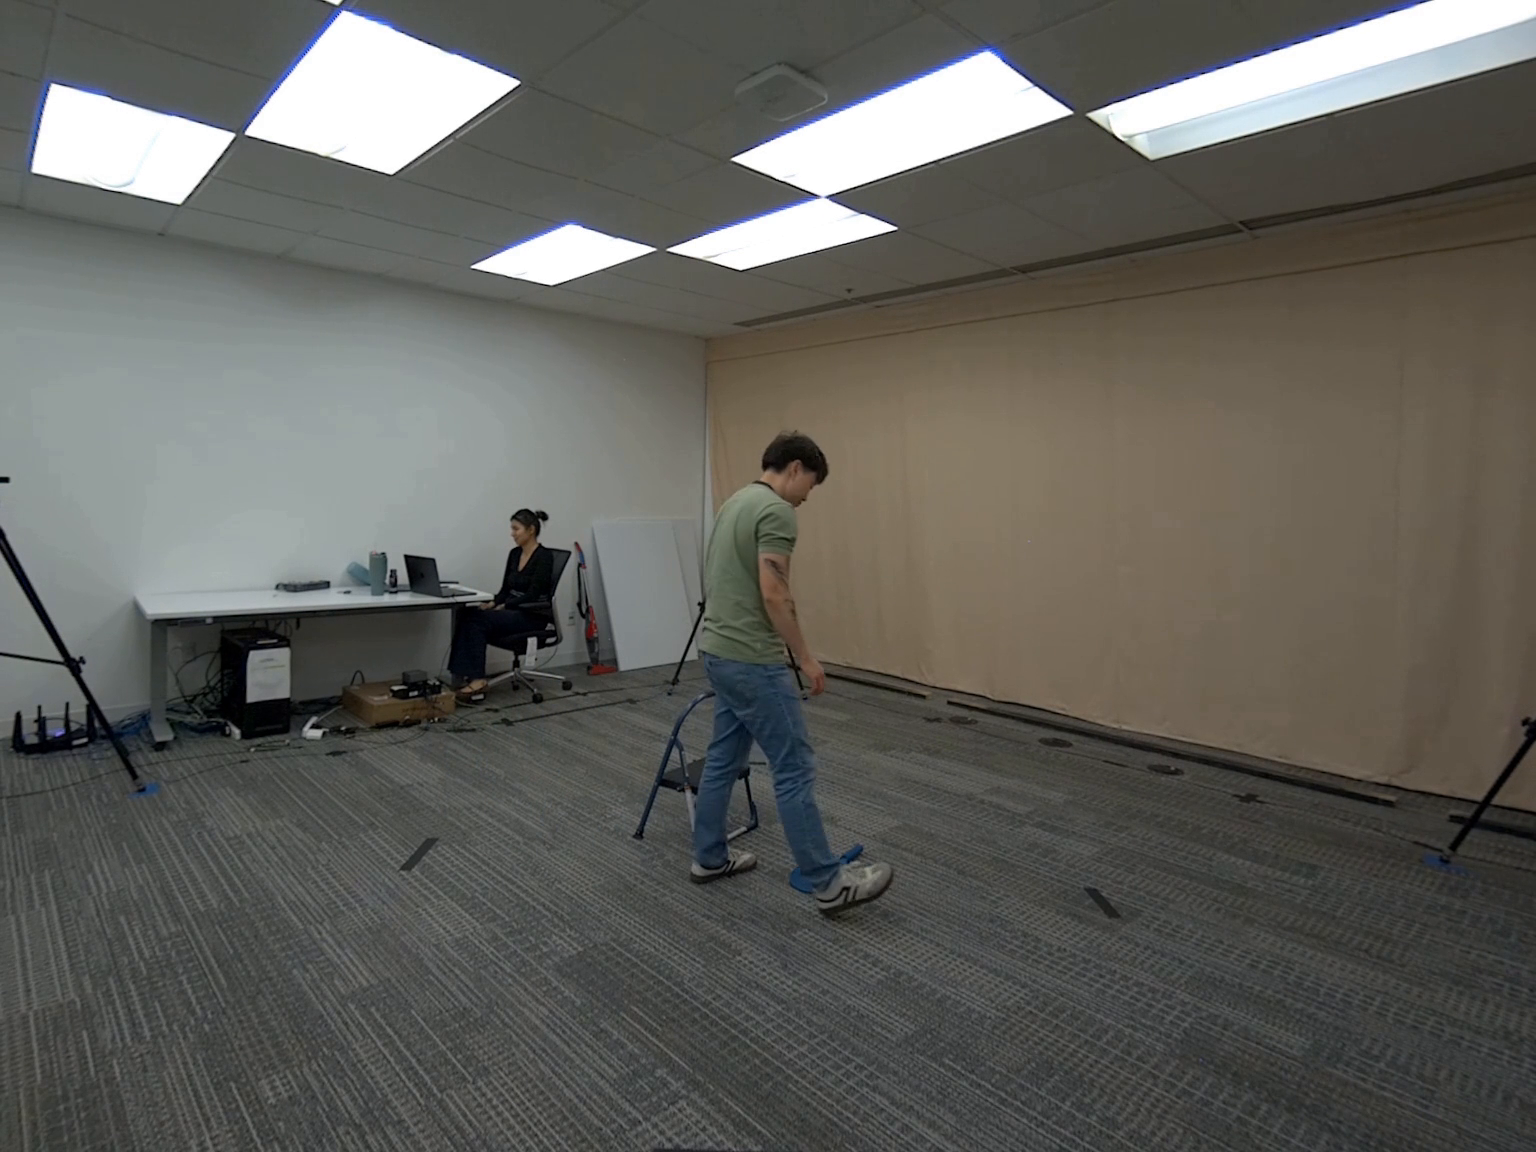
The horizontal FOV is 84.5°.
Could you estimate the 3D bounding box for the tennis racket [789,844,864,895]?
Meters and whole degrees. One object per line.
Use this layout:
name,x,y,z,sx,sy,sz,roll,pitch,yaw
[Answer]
tennis racket,0.243,1.099,3.149,0.219,0.031,0.424,6,8,37
